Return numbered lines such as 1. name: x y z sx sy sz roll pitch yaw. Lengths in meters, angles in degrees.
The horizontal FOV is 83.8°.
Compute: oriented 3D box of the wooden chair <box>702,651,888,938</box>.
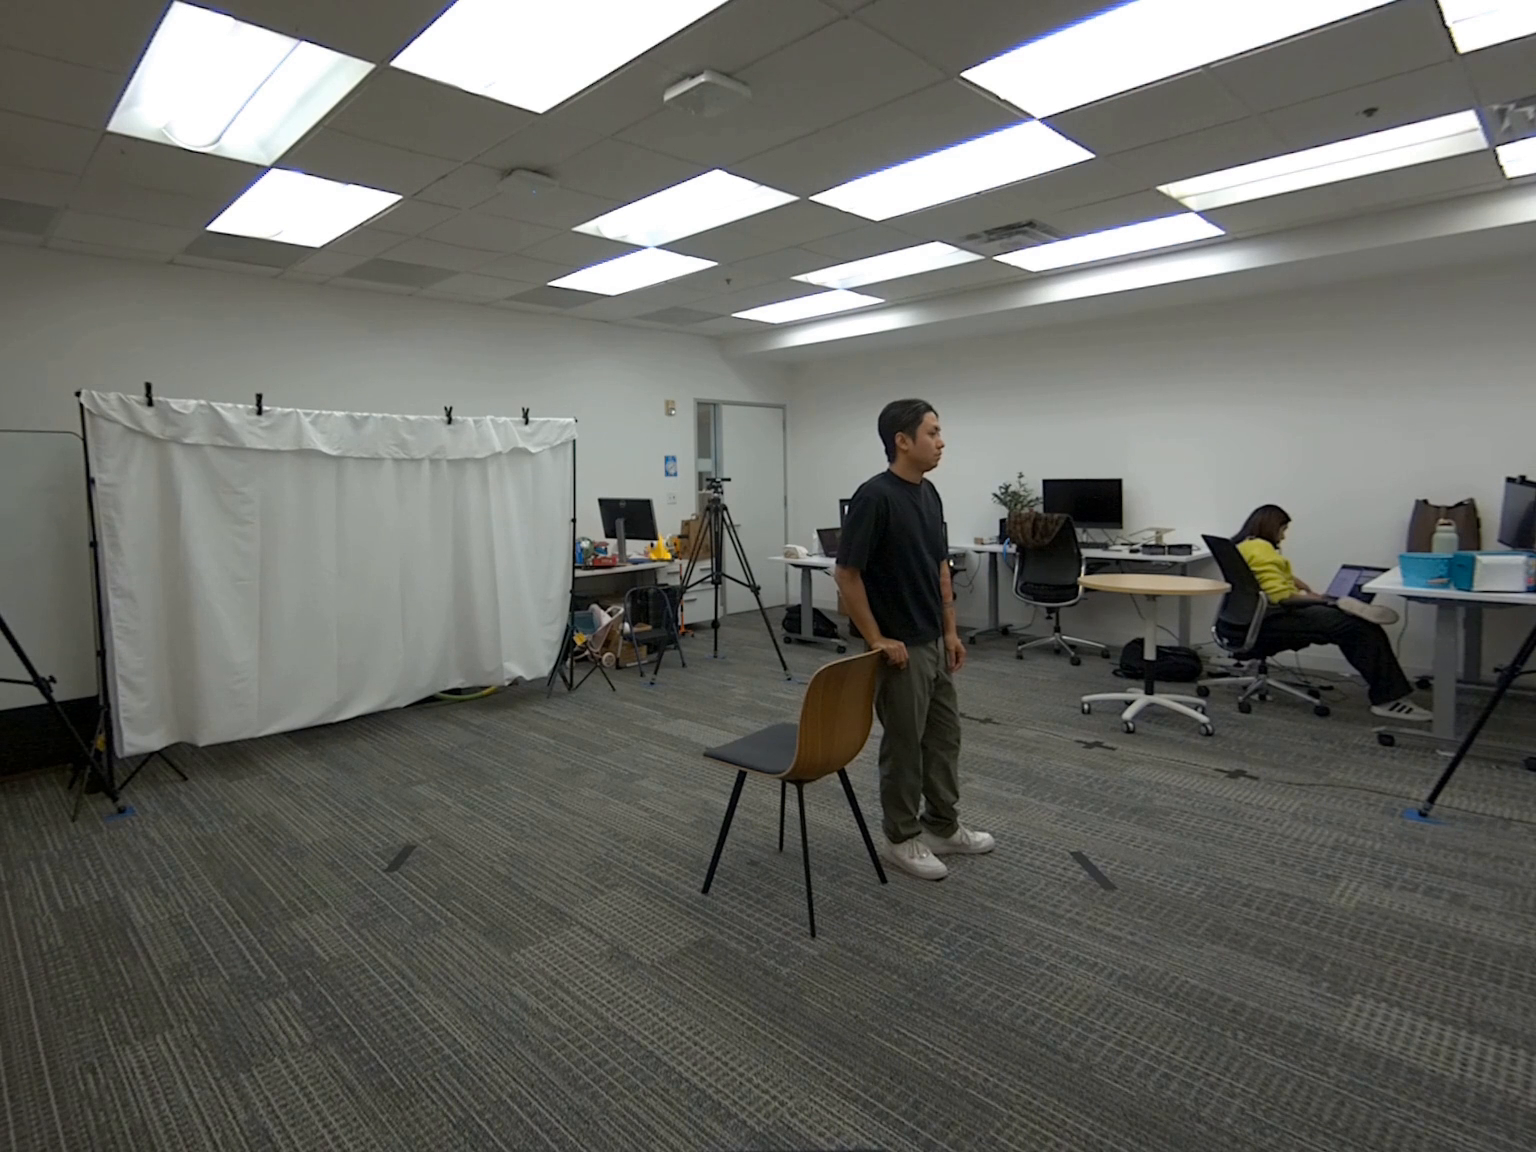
1. wooden chair: 0.080 0.641 2.871 0.540 0.872 0.466 8 9 38
